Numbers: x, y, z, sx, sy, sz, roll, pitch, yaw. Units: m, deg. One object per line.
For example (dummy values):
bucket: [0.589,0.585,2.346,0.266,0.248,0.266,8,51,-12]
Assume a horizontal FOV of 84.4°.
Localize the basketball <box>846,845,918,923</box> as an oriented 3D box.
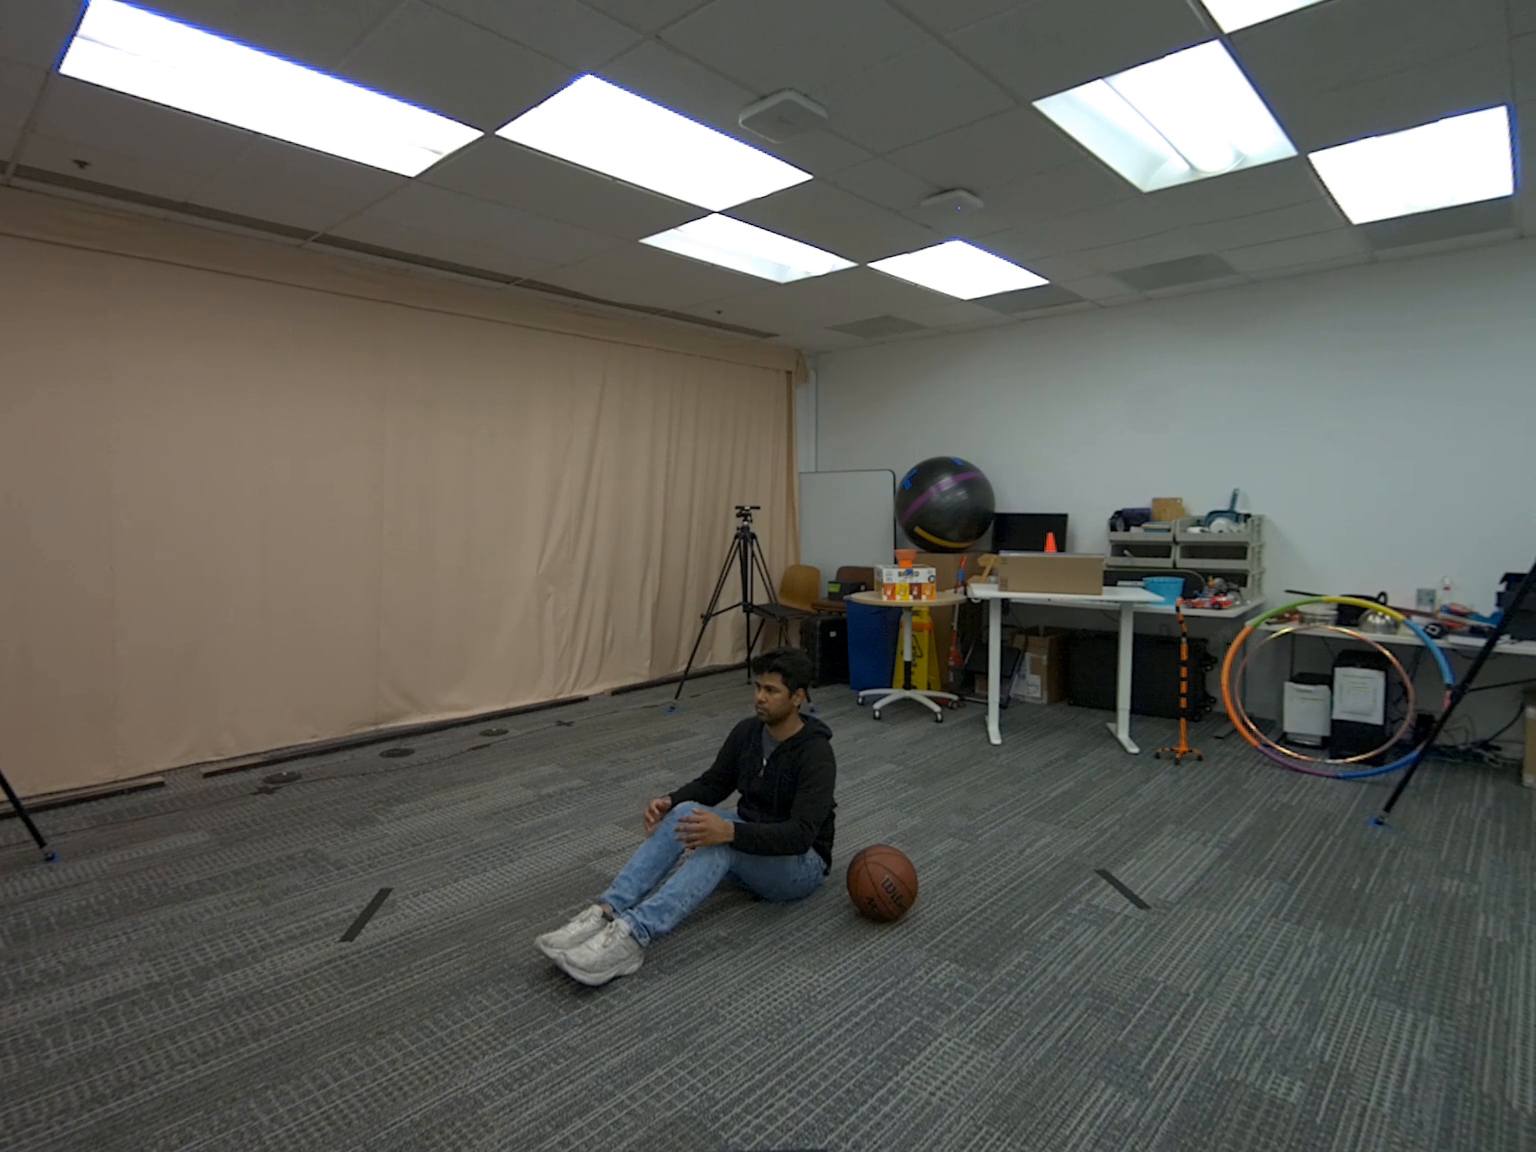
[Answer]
basketball: [0.392,1.035,2.842,0.236,0.235,0.237,0,4,-2]
